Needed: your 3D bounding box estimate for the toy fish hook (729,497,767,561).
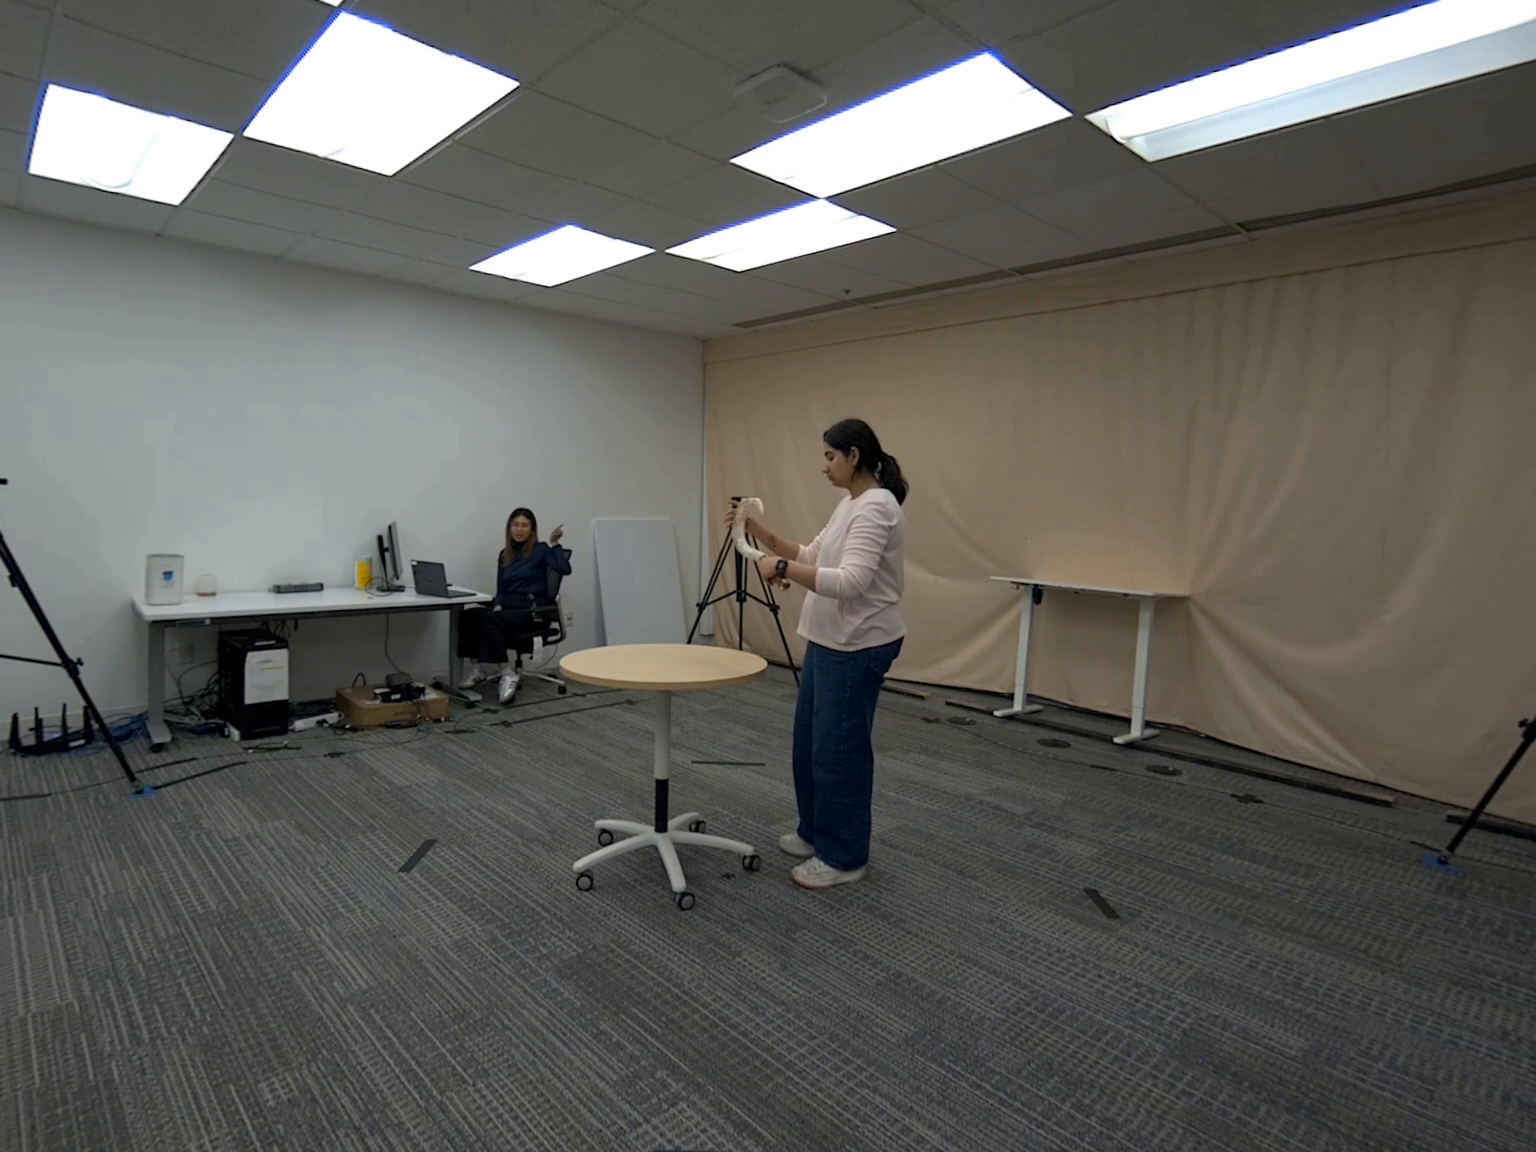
[{"bbox_3d":[-0.016,-0.122,3.014,0.047,0.221,0.523,-5,30,-27],"label":"toy fish hook"}]
